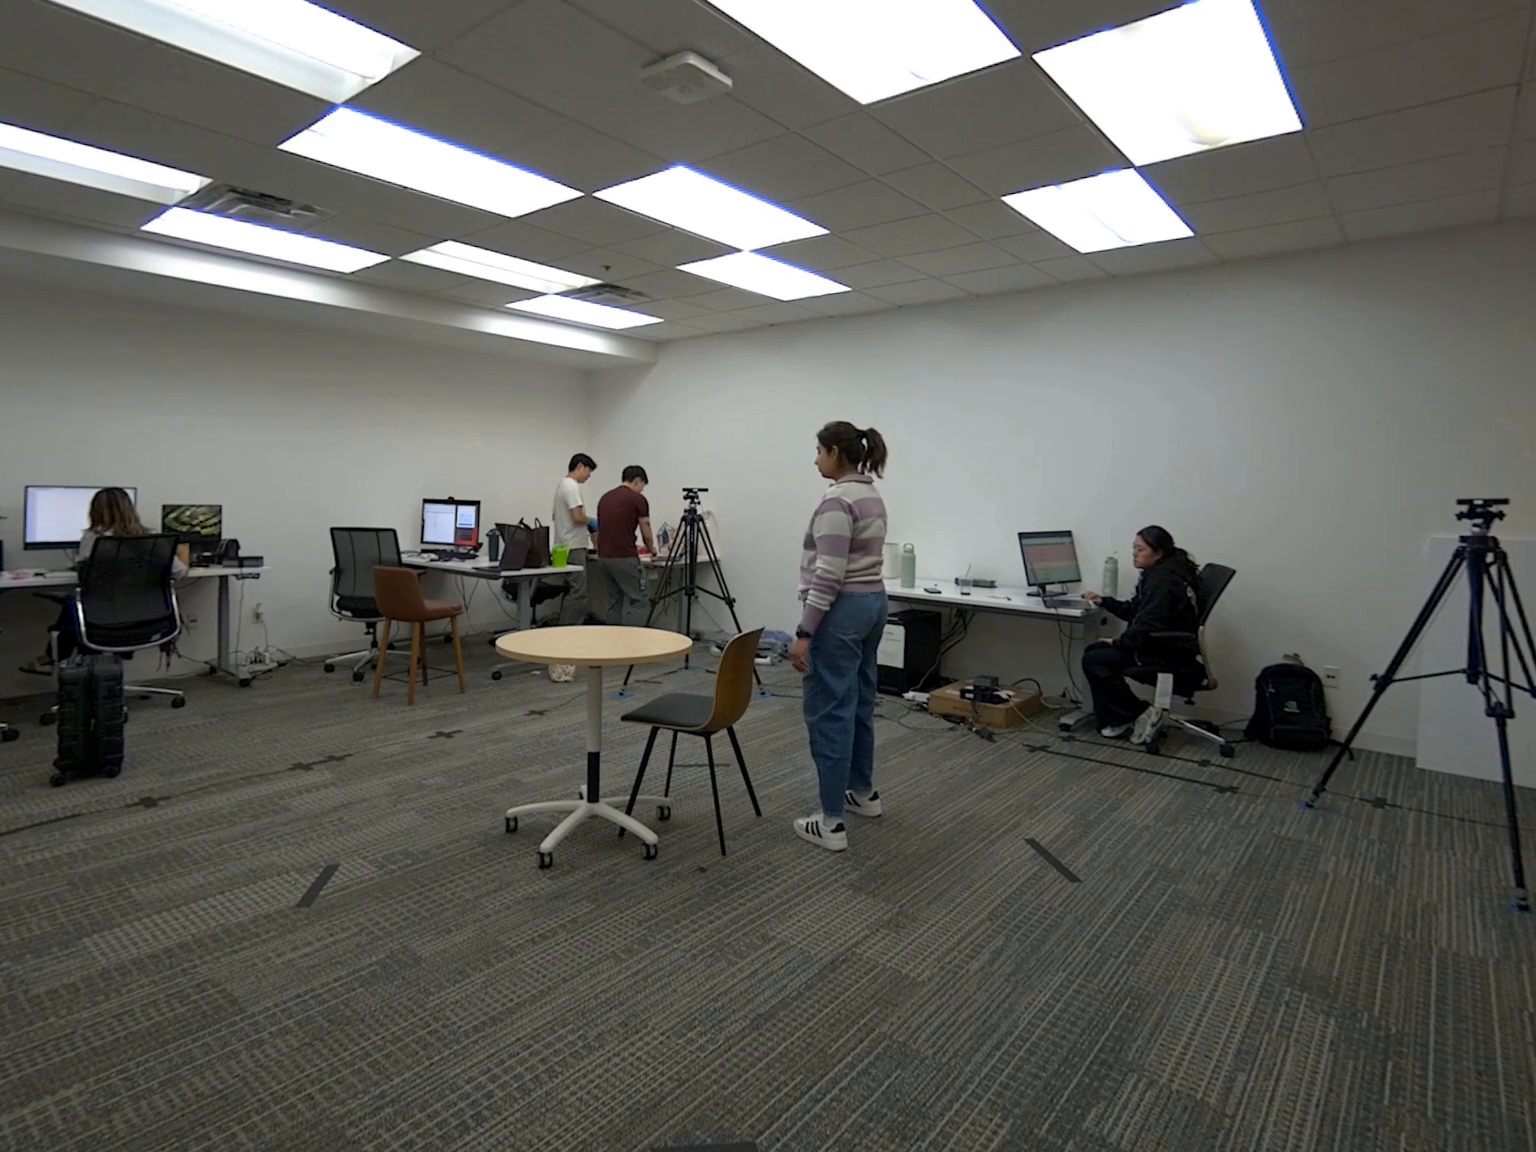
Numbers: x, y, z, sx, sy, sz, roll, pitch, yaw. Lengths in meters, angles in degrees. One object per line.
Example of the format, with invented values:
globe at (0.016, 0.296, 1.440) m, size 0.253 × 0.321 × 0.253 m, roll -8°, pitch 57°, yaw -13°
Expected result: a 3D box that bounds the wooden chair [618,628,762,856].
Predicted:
wooden chair at (-0.321, 0.607, 3.479) m, size 0.535 × 0.874 × 0.469 m, roll 6°, pitch 5°, yaw 19°
